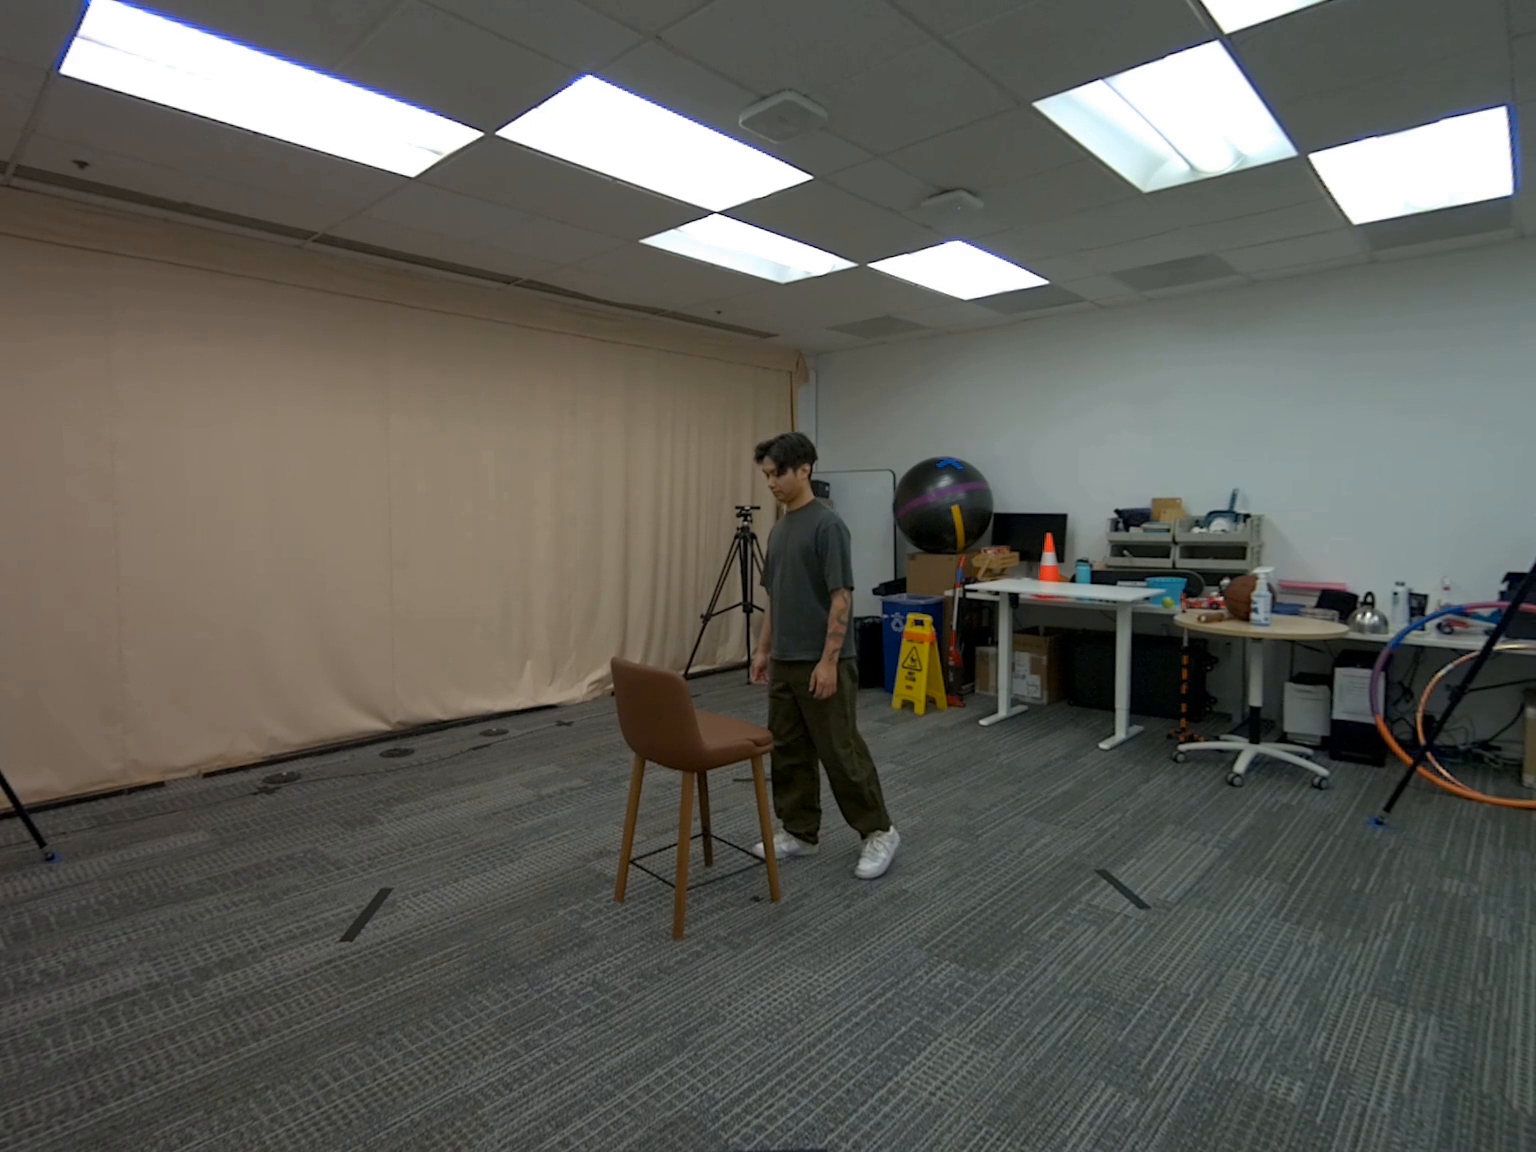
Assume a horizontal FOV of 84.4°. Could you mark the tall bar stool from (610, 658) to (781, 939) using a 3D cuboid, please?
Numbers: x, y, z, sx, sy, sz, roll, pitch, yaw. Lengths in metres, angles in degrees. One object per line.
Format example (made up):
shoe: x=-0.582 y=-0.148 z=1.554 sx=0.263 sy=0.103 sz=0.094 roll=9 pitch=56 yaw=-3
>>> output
tall bar stool: x=-0.260 y=0.713 z=2.955 sx=0.454 sy=0.887 sz=0.471 roll=-6 pitch=6 yaw=-41
